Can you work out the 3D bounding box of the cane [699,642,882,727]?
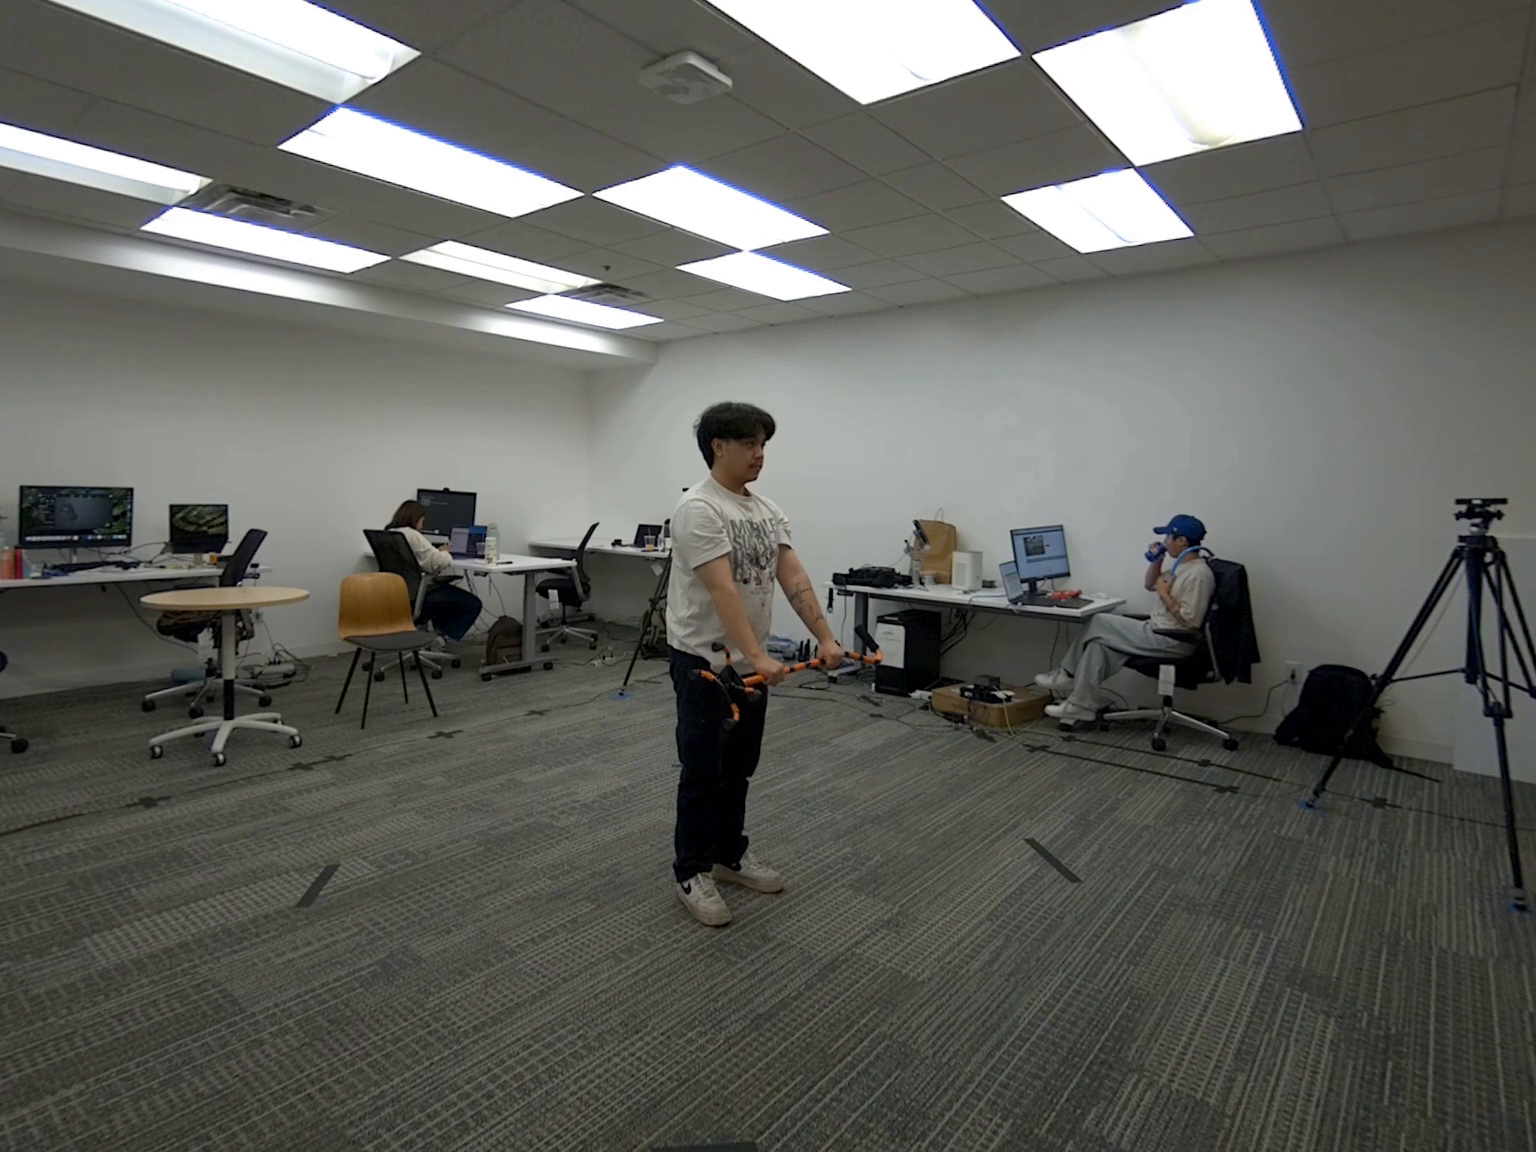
[{"bbox_3d":[0.122,0.281,2.733,0.882,0.213,0.151,-6,-37,-53],"label":"cane"}]
